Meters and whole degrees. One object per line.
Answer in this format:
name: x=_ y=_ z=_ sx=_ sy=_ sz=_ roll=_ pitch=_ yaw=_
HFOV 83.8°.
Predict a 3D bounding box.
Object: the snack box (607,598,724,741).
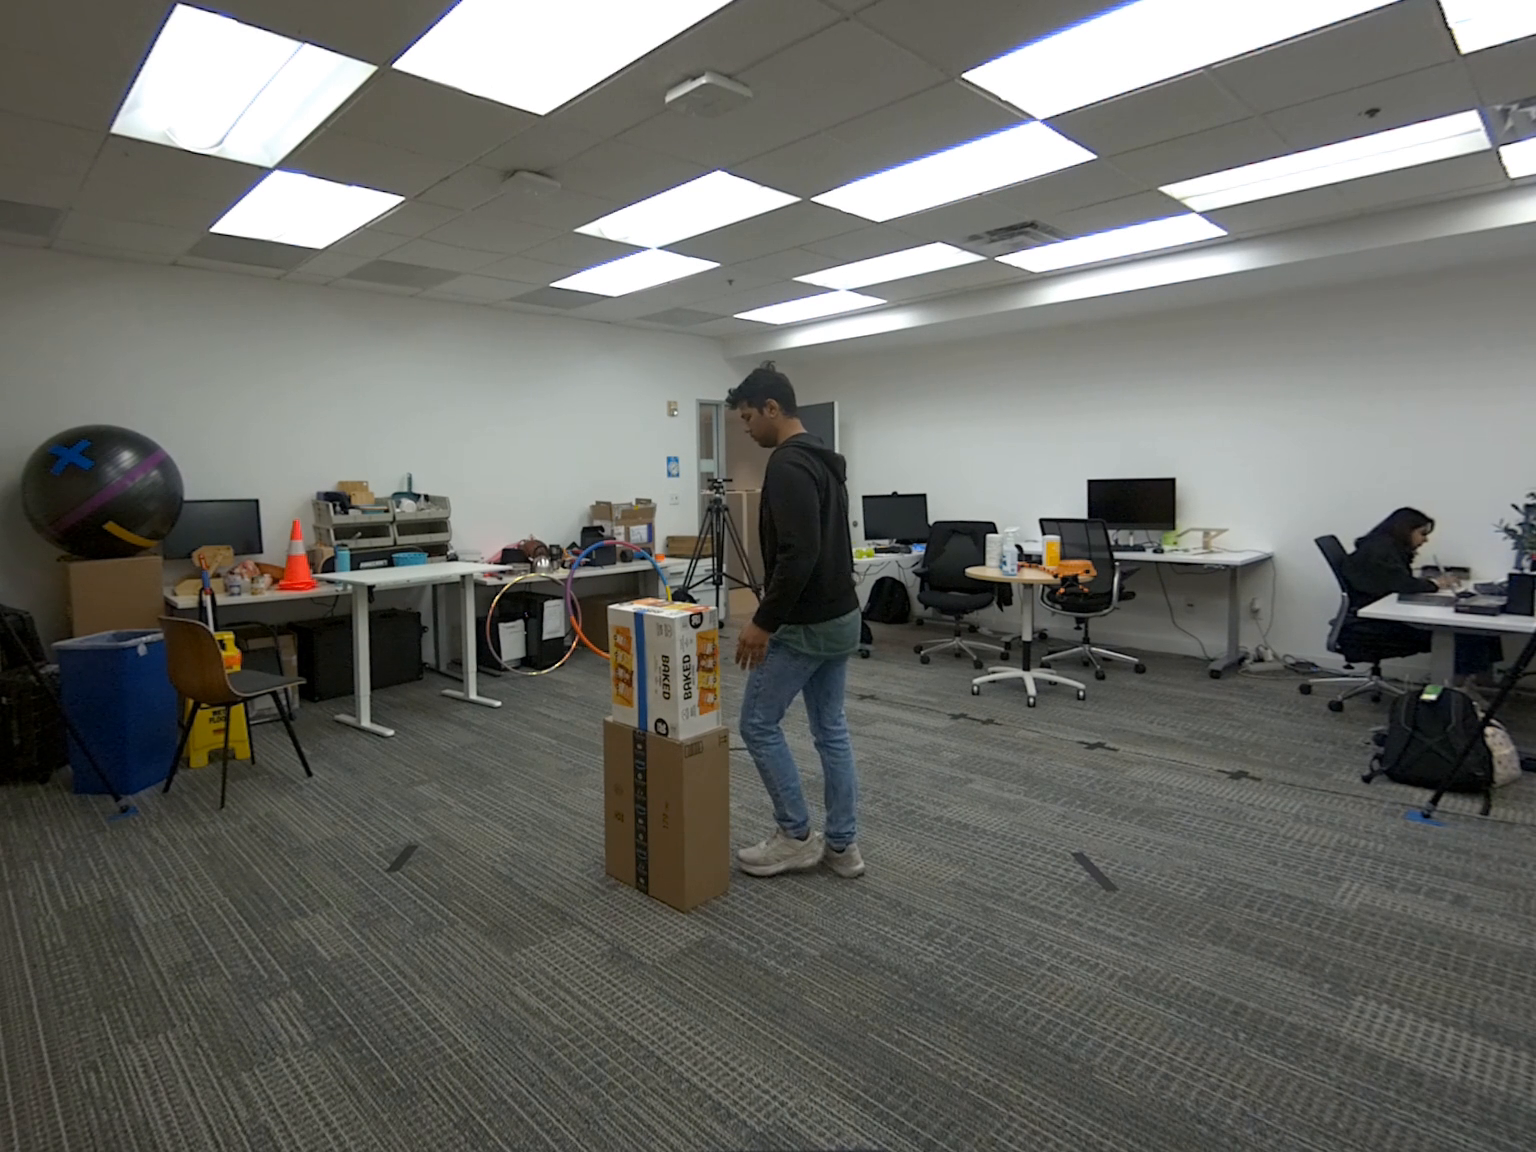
snack box: x=-0.347 y=0.303 z=2.905 sx=0.351 sy=0.403 sz=0.200 roll=4 pitch=8 yaw=43
